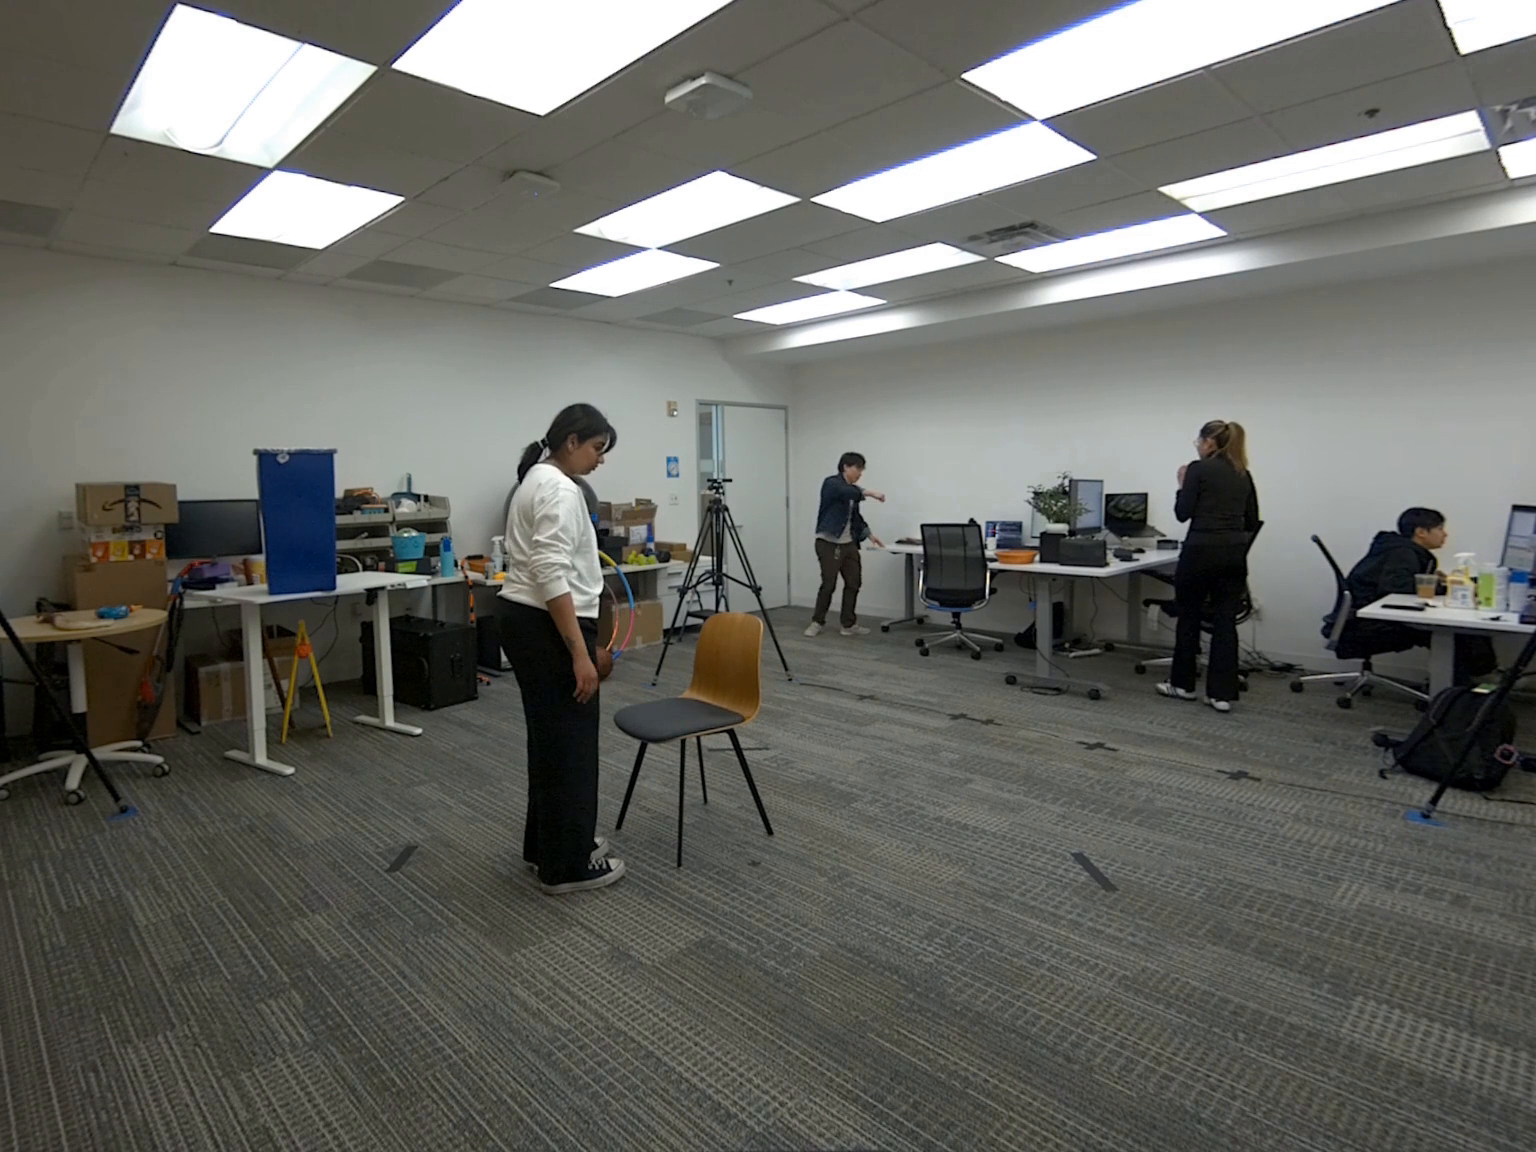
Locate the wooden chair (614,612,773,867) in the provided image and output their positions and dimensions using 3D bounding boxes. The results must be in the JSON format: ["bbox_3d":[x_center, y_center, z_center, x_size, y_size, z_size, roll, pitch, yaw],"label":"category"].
[{"bbox_3d":[-0.303,0.593,3.360,0.508,0.876,0.492,1,2,-39],"label":"wooden chair"}]
